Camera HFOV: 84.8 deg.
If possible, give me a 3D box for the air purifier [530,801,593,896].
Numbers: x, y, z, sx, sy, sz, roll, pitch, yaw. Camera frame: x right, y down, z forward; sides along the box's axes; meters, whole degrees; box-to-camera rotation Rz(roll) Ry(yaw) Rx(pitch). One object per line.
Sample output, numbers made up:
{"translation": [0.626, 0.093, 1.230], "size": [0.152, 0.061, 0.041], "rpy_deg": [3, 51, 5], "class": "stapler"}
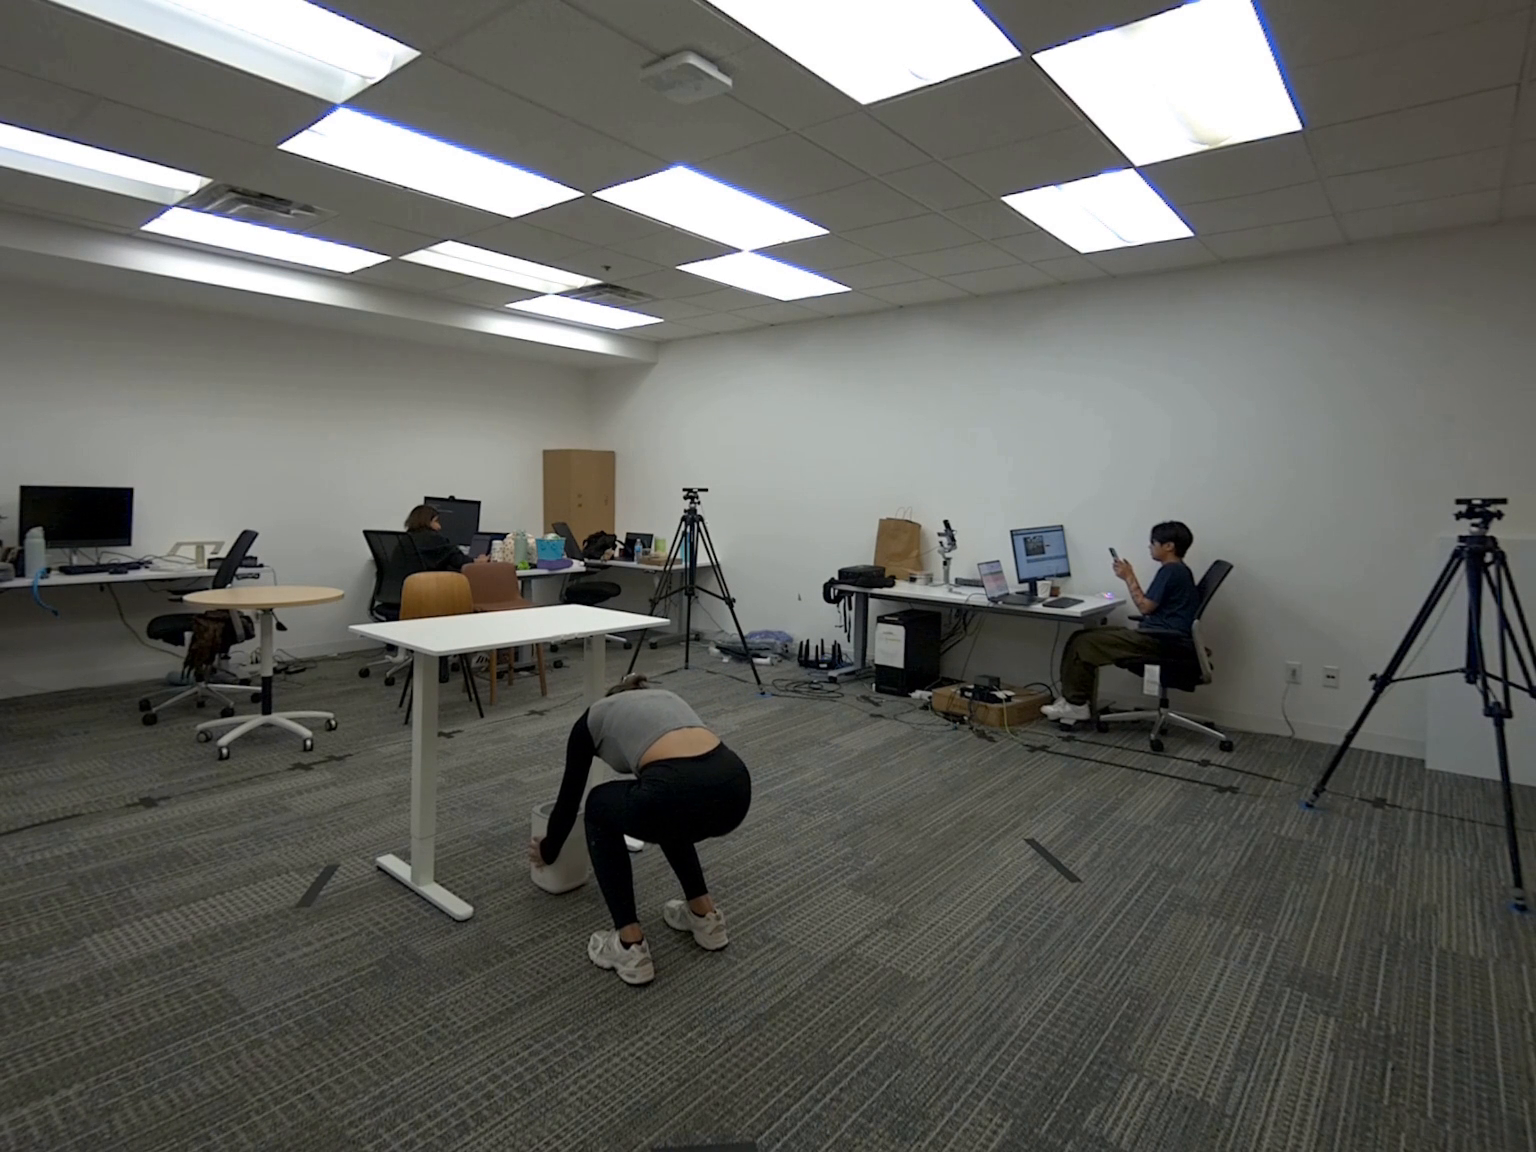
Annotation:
{"translation": [-0.739, 0.942, 2.970], "size": [0.176, 0.265, 0.166], "rpy_deg": [1, 2, 38], "class": "air purifier"}
